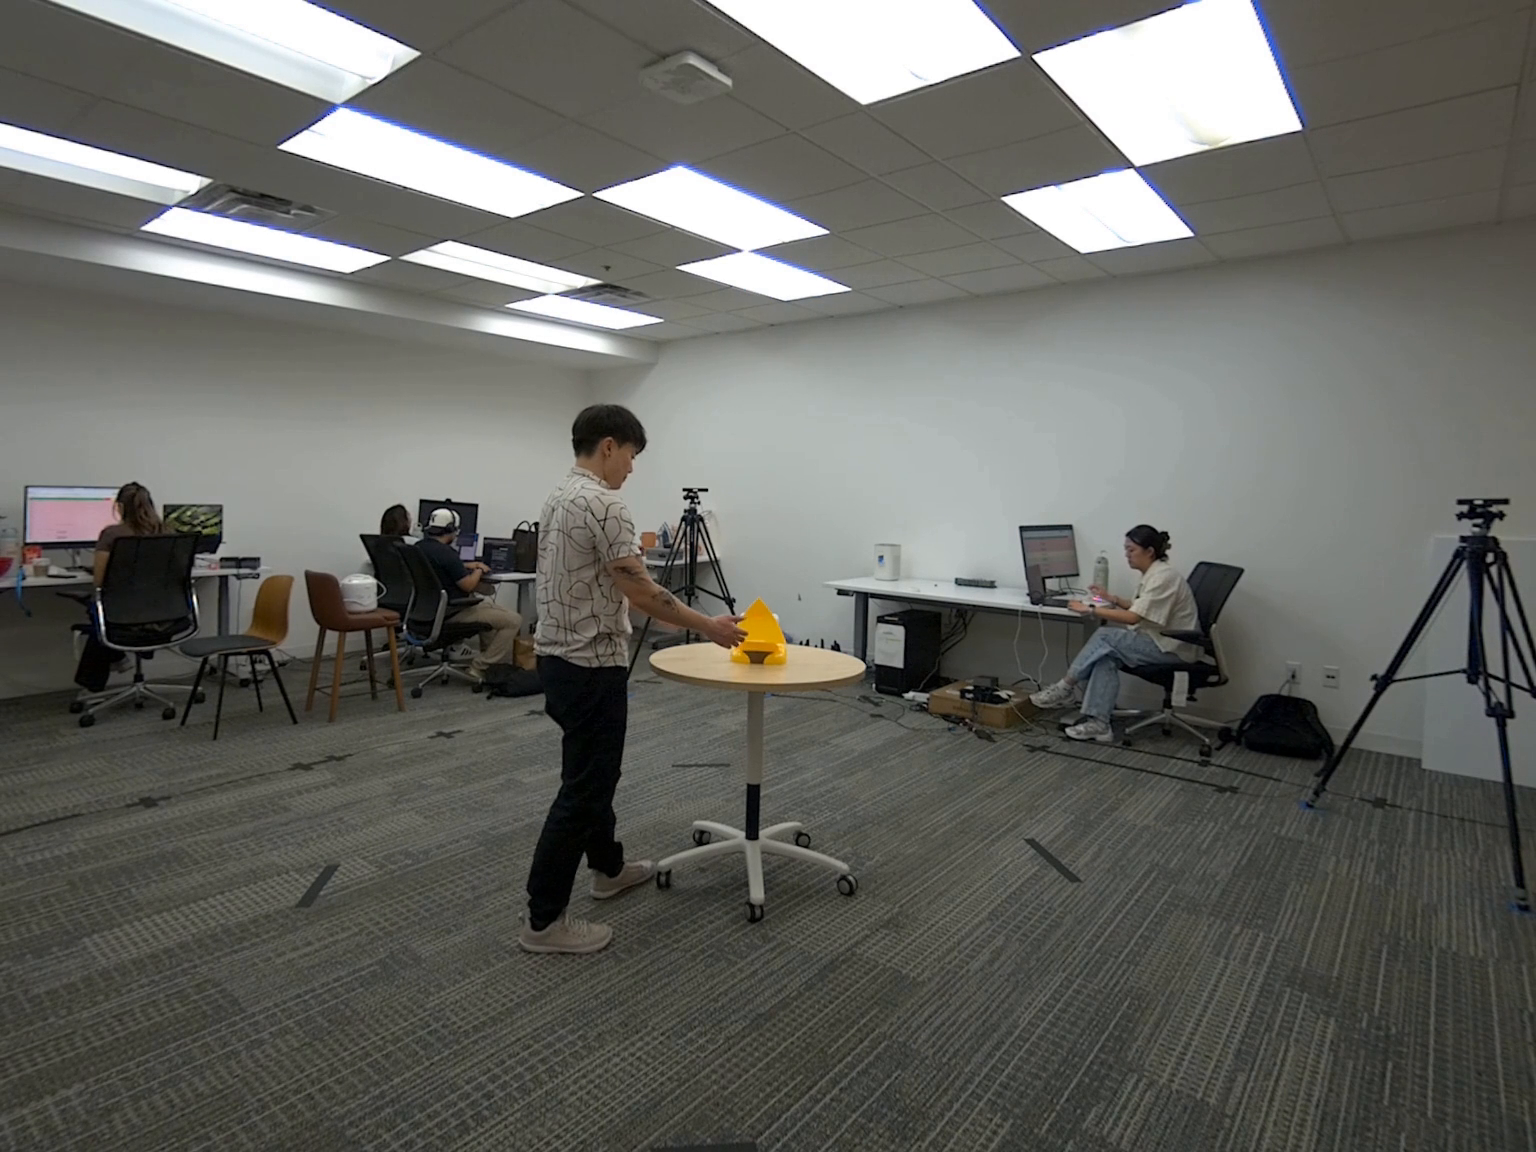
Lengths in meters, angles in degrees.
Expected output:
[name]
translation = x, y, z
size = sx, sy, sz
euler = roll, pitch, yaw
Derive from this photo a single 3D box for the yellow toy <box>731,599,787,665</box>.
[yellow toy]
translation = -0.039, 0.184, 3.030
size = 0.206, 0.230, 0.192
euler = 2, 4, 6
